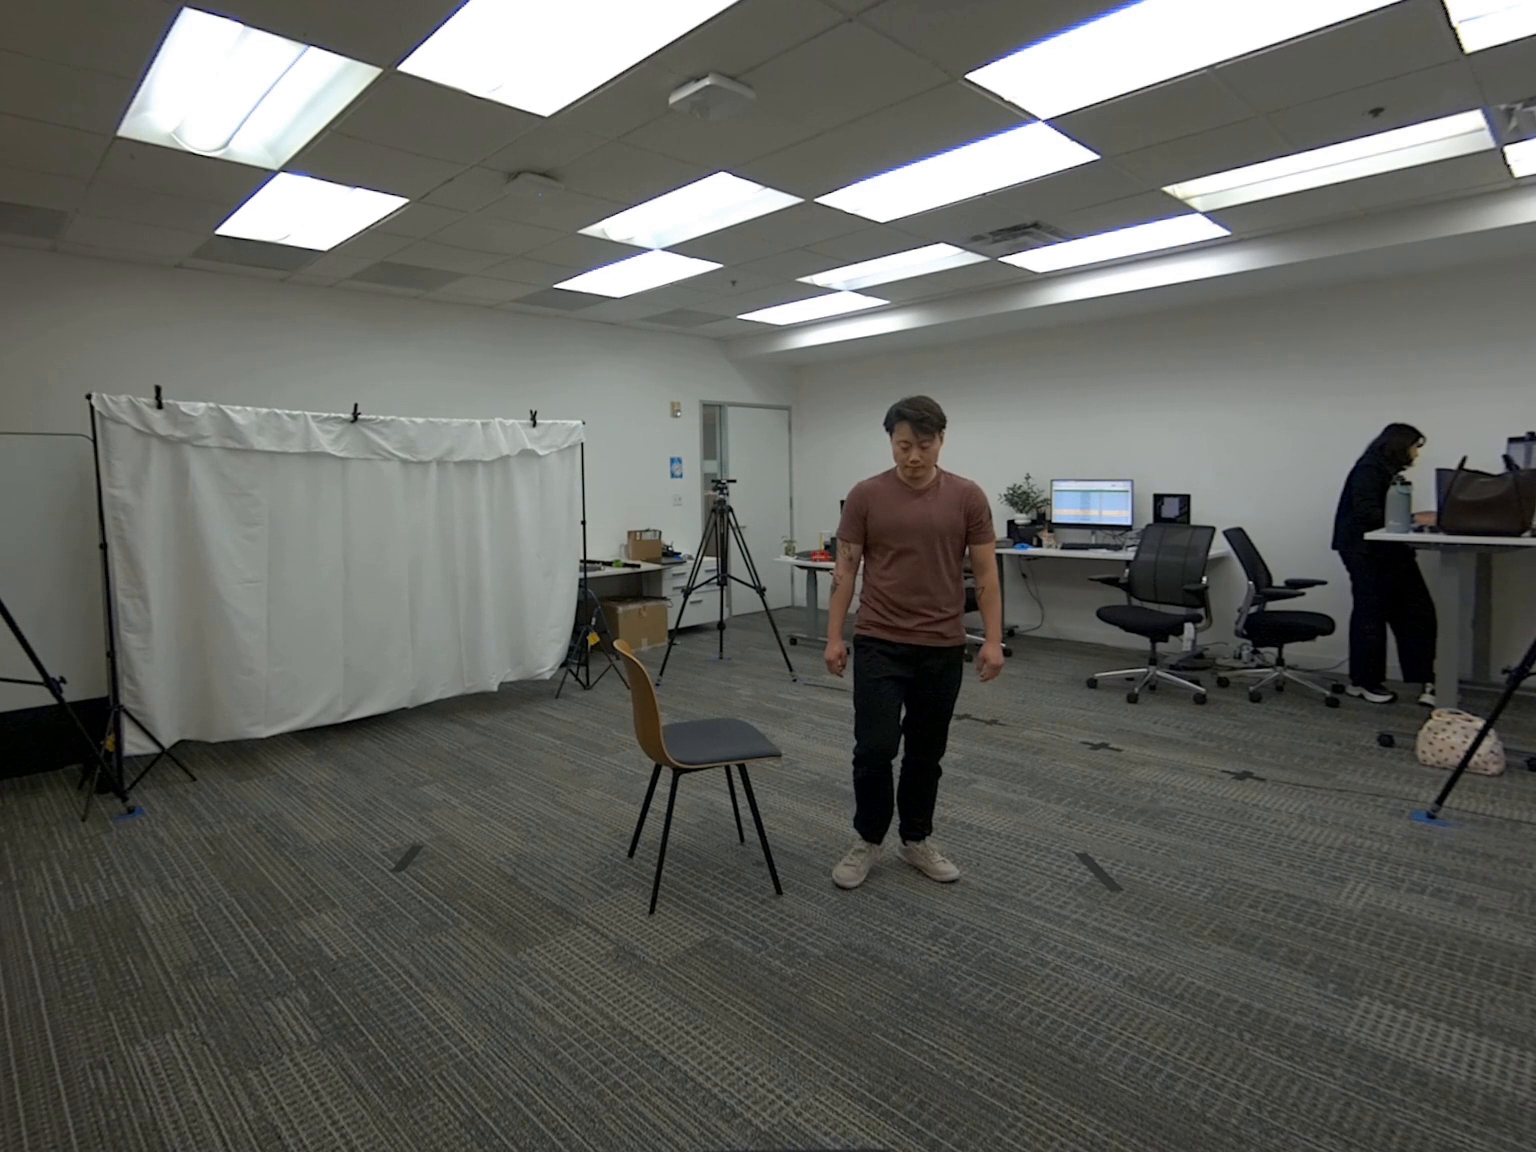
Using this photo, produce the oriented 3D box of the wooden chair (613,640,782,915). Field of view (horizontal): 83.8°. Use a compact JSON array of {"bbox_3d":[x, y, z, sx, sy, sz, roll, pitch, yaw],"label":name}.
[{"bbox_3d":[-0.234,0.636,2.995,0.516,0.873,0.487,-6,5,-16],"label":"wooden chair"}]
